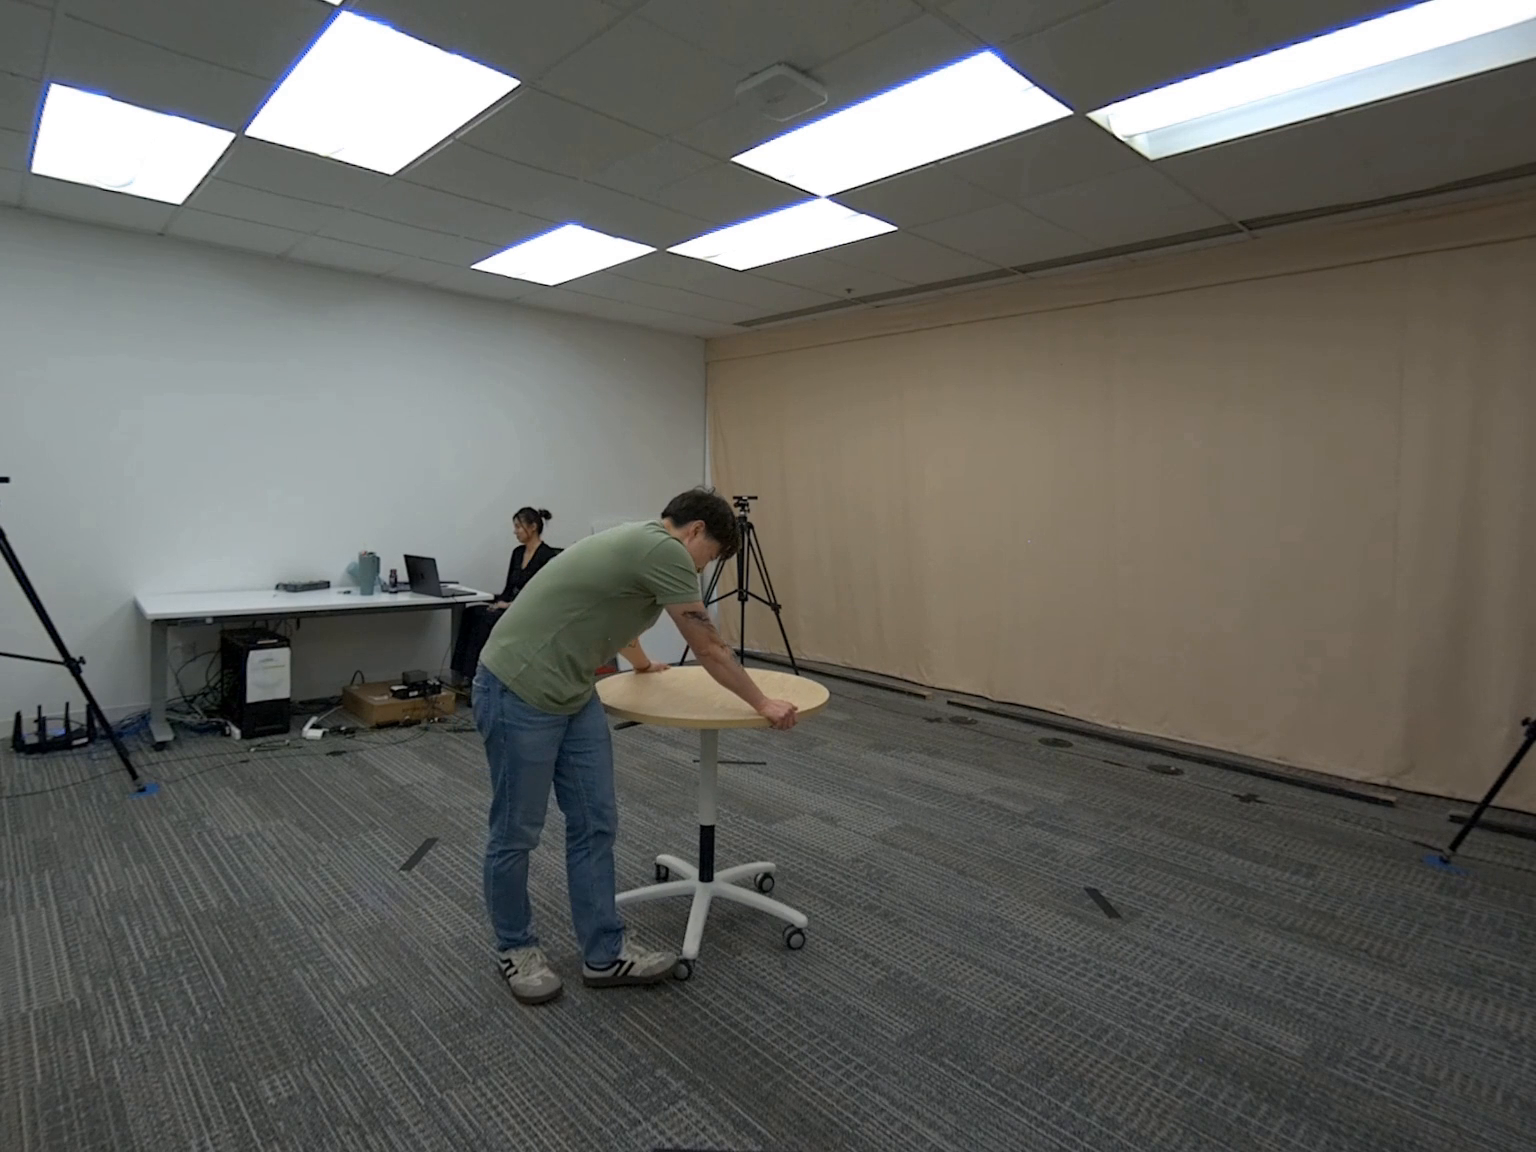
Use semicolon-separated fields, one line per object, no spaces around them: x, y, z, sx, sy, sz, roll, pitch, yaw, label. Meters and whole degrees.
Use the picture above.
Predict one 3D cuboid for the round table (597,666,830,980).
-0.198;0.753;2.737;0.763;0.792;0.767;1;4;-1;round table
